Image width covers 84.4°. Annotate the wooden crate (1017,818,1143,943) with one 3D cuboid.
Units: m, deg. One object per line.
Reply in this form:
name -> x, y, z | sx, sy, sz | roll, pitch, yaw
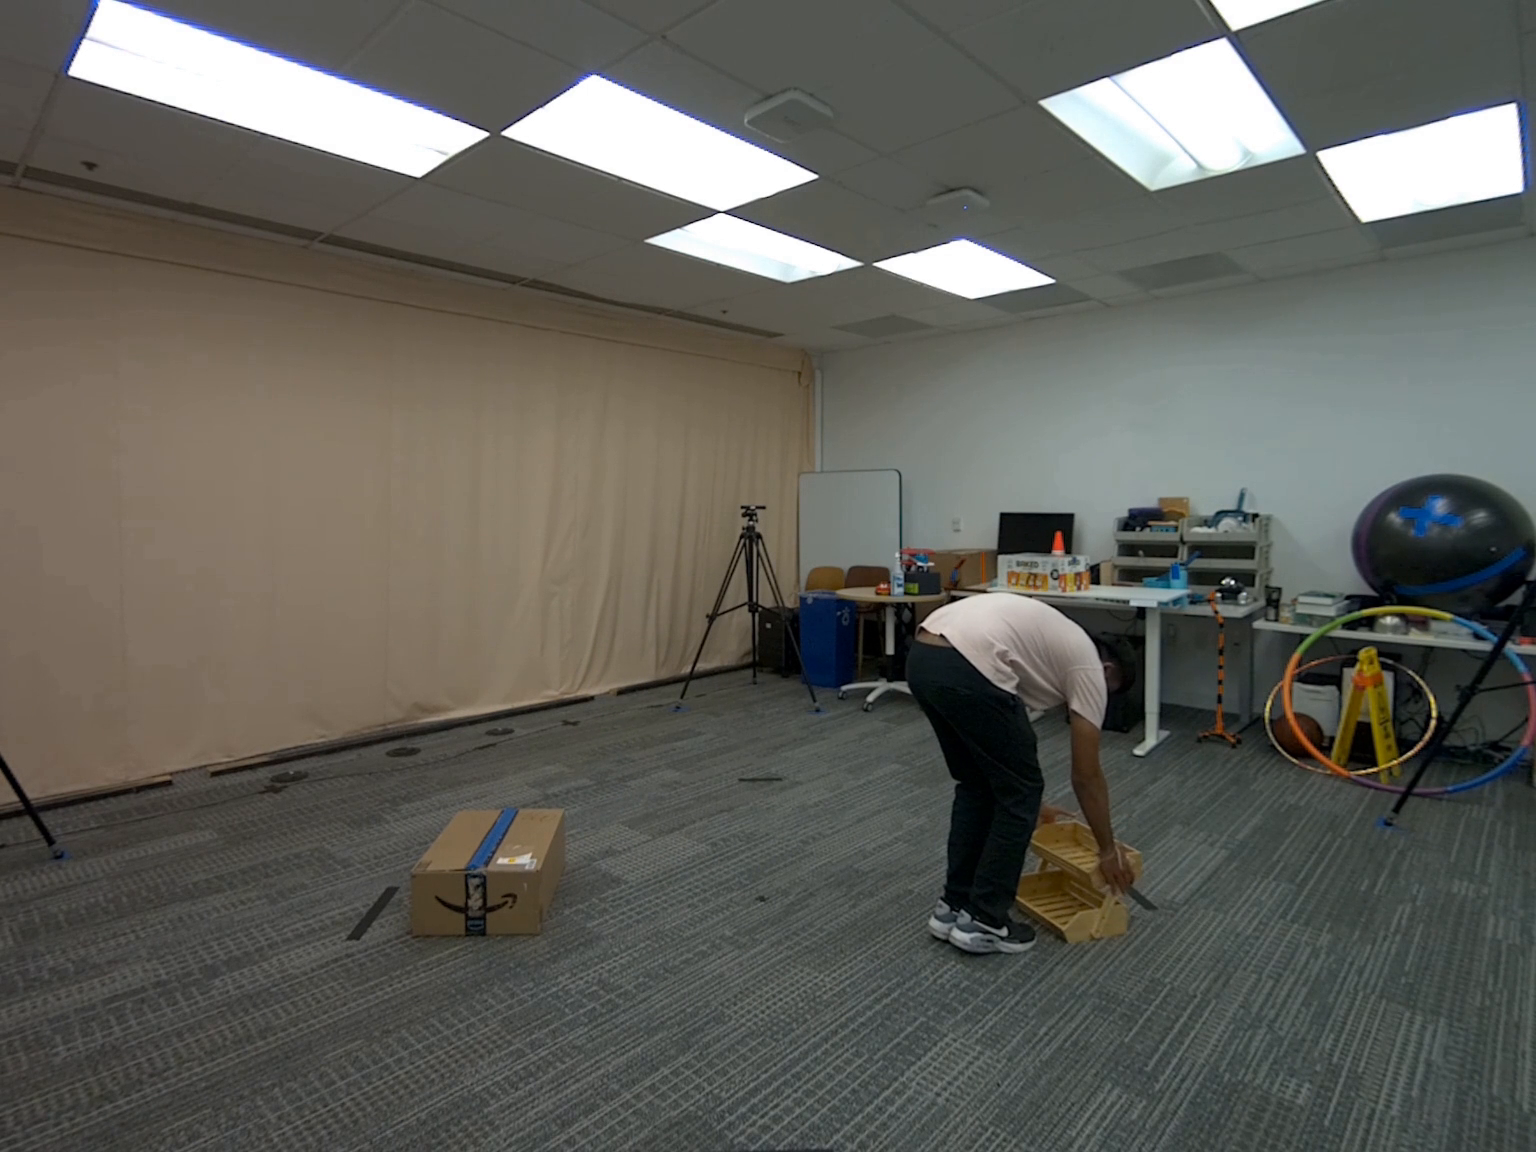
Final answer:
wooden crate -> 1.016, 1.012, 2.844 | 0.296, 0.273, 0.331 | -1, 3, -20
